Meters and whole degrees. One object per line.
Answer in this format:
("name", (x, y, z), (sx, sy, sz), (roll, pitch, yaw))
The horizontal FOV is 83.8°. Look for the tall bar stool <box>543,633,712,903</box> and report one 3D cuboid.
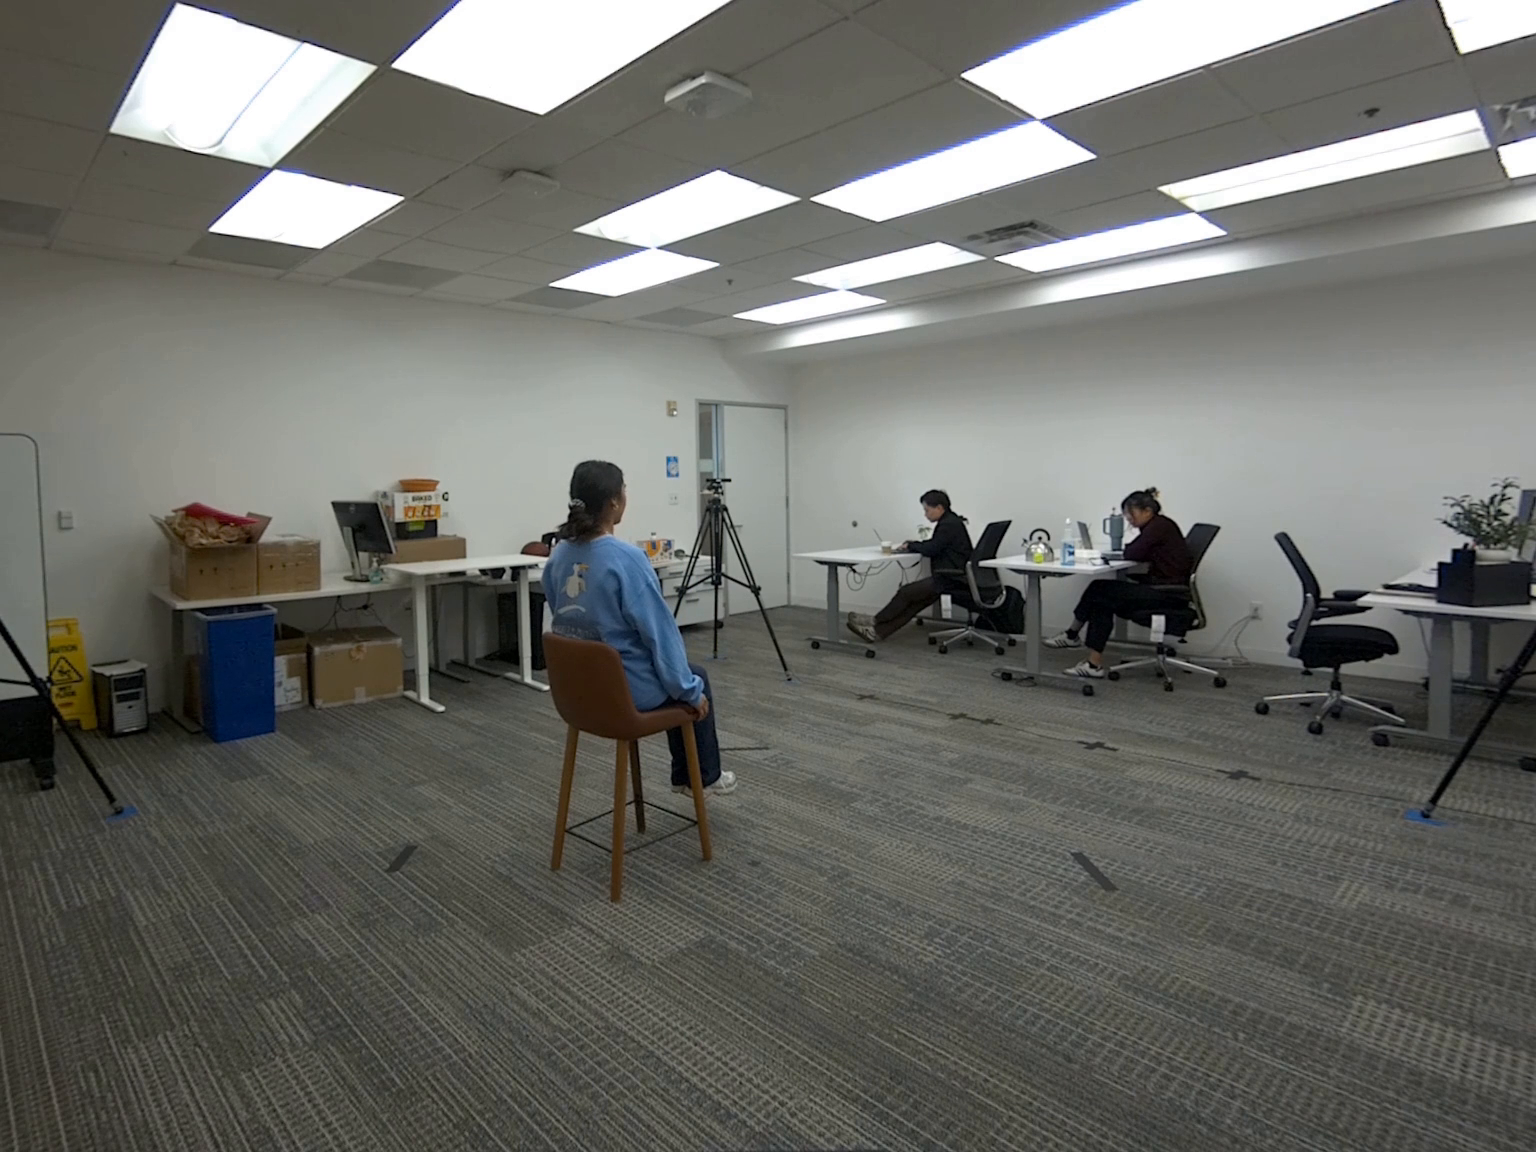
("tall bar stool", (-0.522, 0.620, 3.089), (0.470, 0.885, 0.456), (2, 7, 43))
